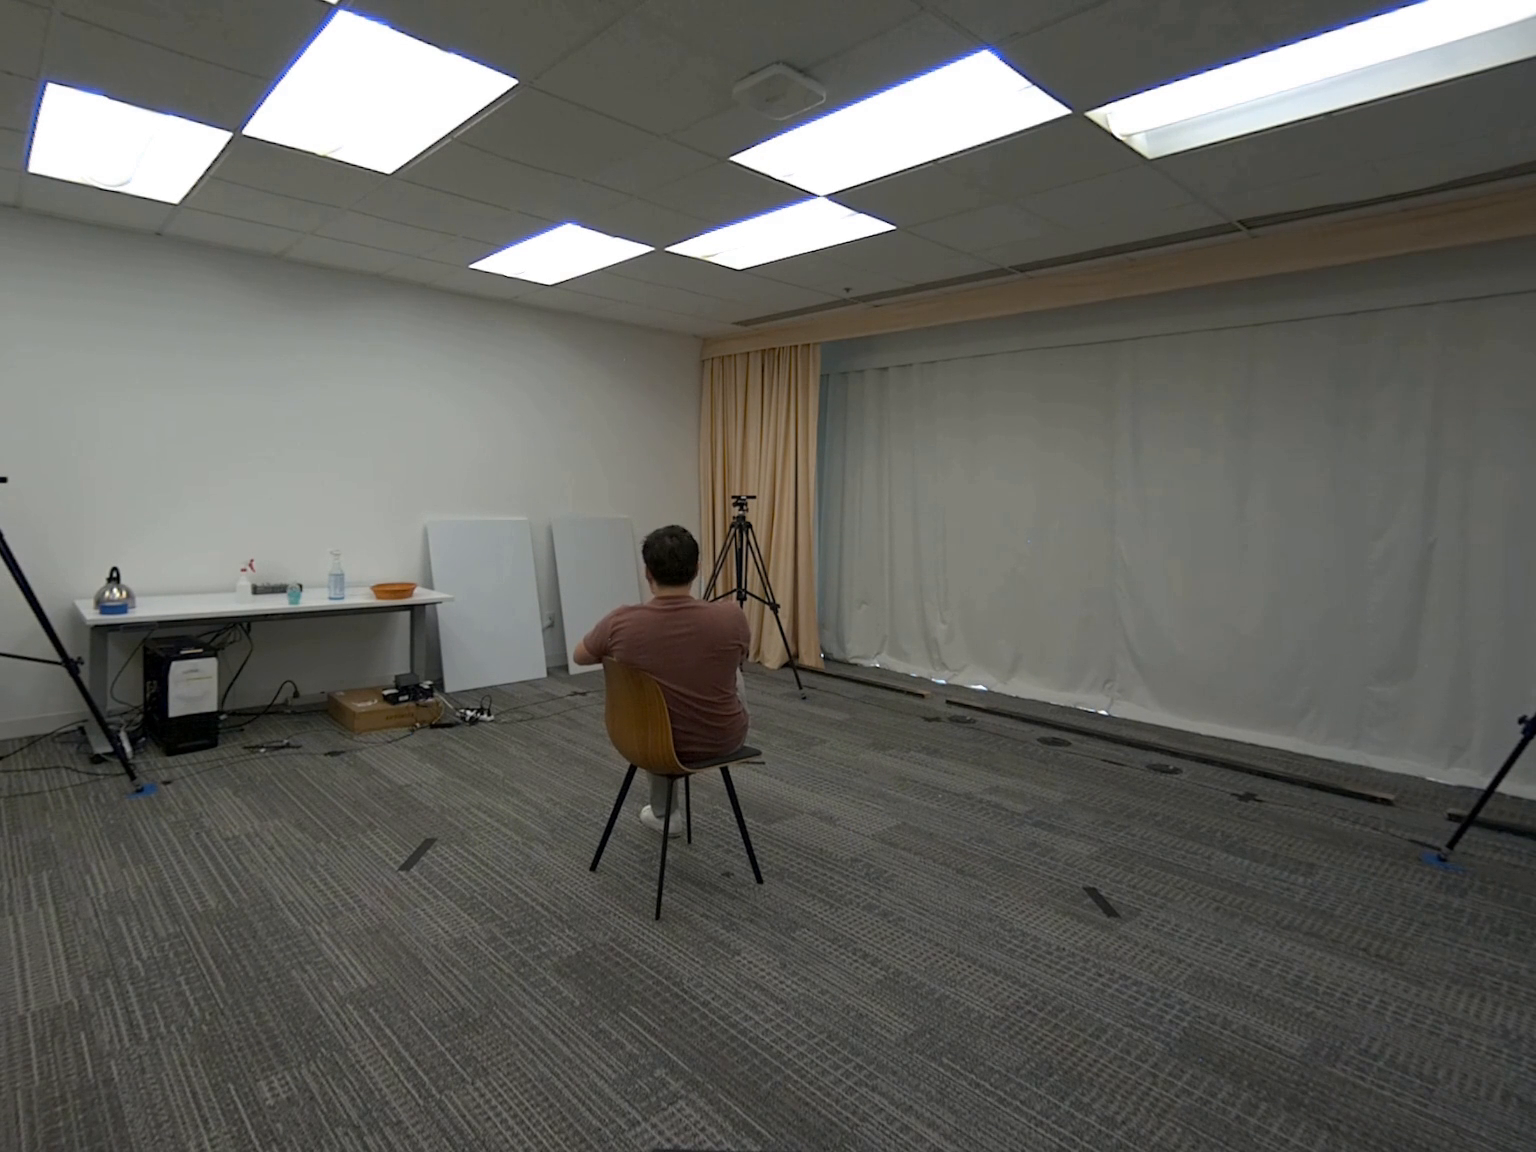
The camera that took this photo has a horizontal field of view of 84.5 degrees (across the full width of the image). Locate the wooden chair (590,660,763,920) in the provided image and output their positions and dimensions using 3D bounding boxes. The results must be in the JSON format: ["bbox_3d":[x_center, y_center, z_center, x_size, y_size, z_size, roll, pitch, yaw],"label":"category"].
[{"bbox_3d":[-0.326,0.678,3.042,0.512,0.873,0.490,-7,8,-39],"label":"wooden chair"}]
